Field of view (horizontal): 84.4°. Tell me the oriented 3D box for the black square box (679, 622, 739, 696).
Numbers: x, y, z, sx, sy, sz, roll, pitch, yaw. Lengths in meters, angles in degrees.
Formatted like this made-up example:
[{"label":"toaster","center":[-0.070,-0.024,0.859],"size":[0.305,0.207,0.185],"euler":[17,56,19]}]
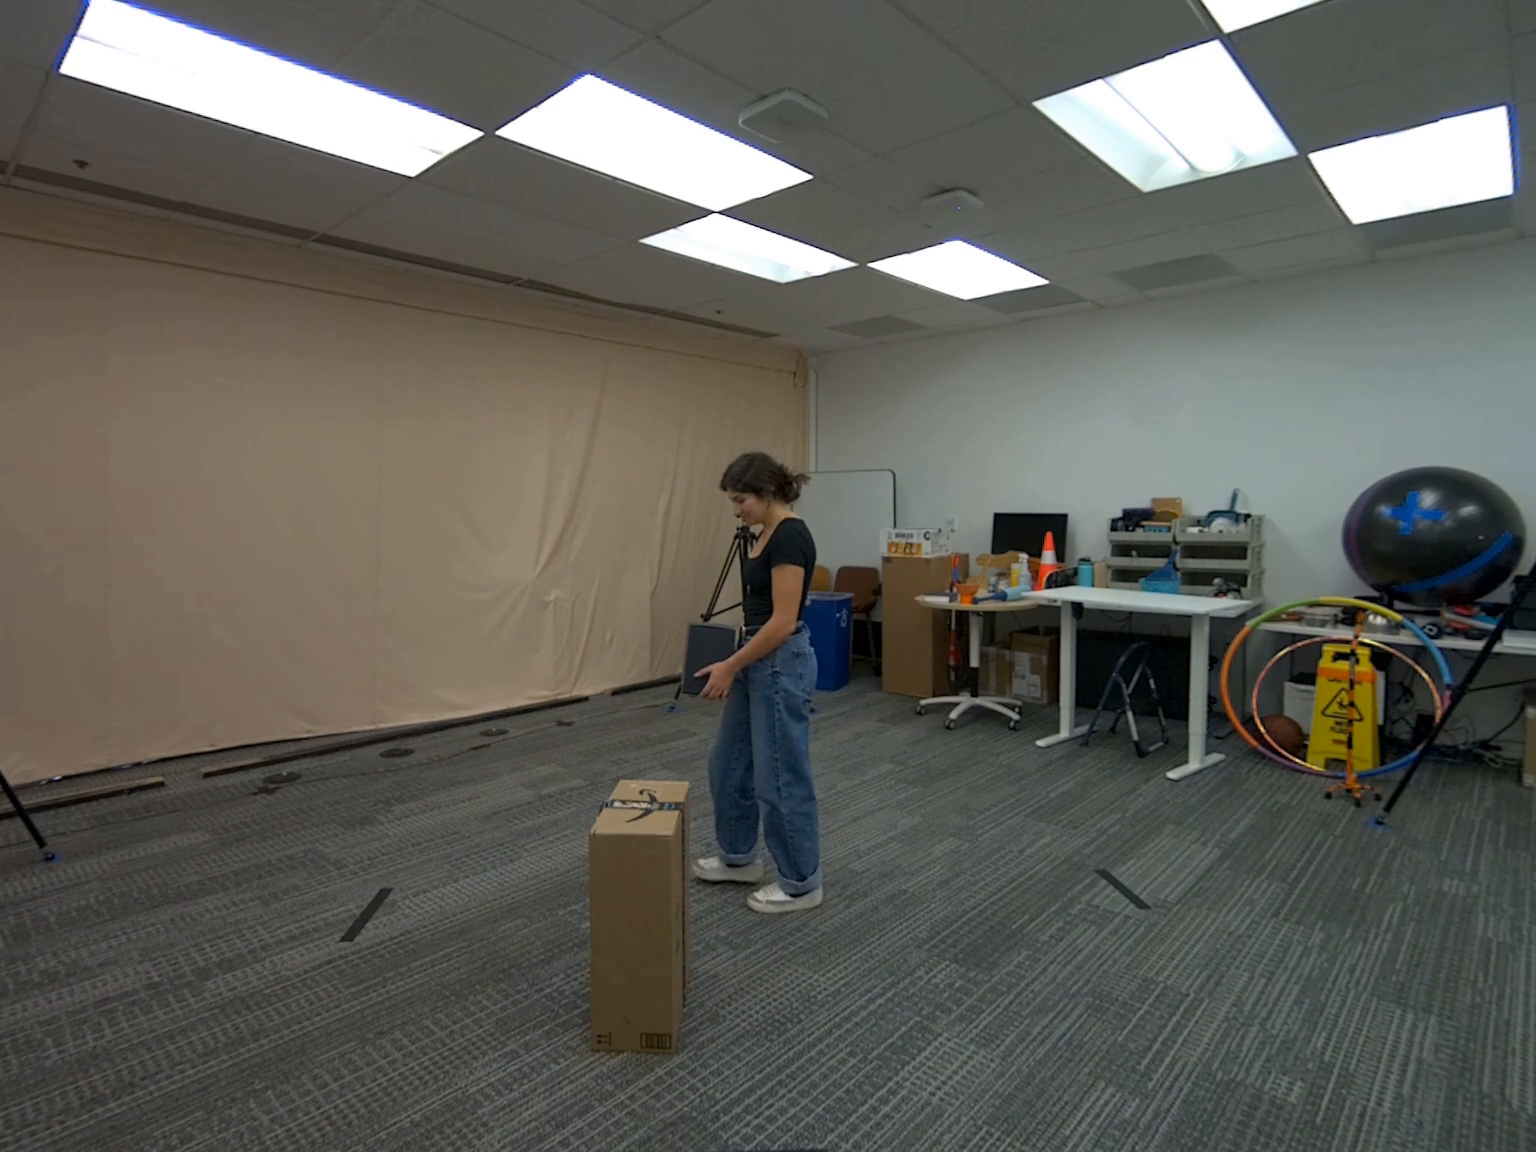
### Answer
[{"label":"black square box","center":[-0.207,0.278,2.917],"size":[0.155,0.228,0.218],"euler":[6,1,-5]}]
